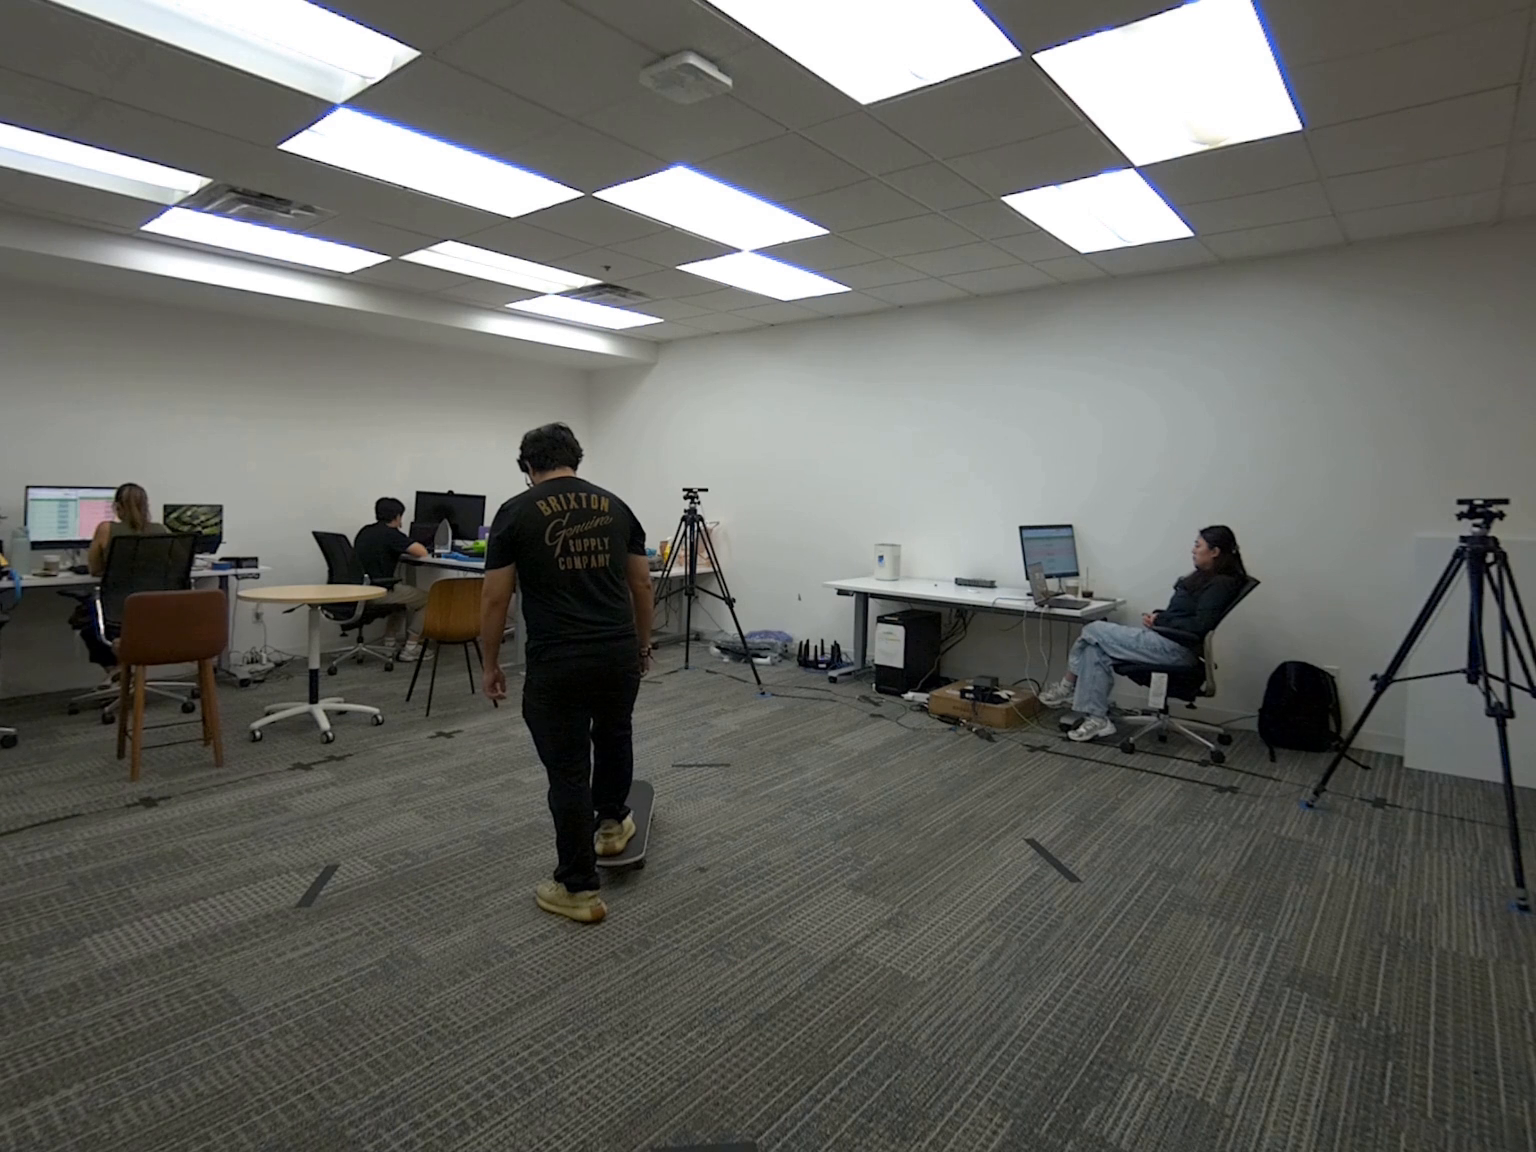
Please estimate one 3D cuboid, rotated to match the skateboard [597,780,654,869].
[{"bbox_3d":[-0.565,0.987,3.316,0.193,0.110,0.791,-3,7,-3],"label":"skateboard"}]
